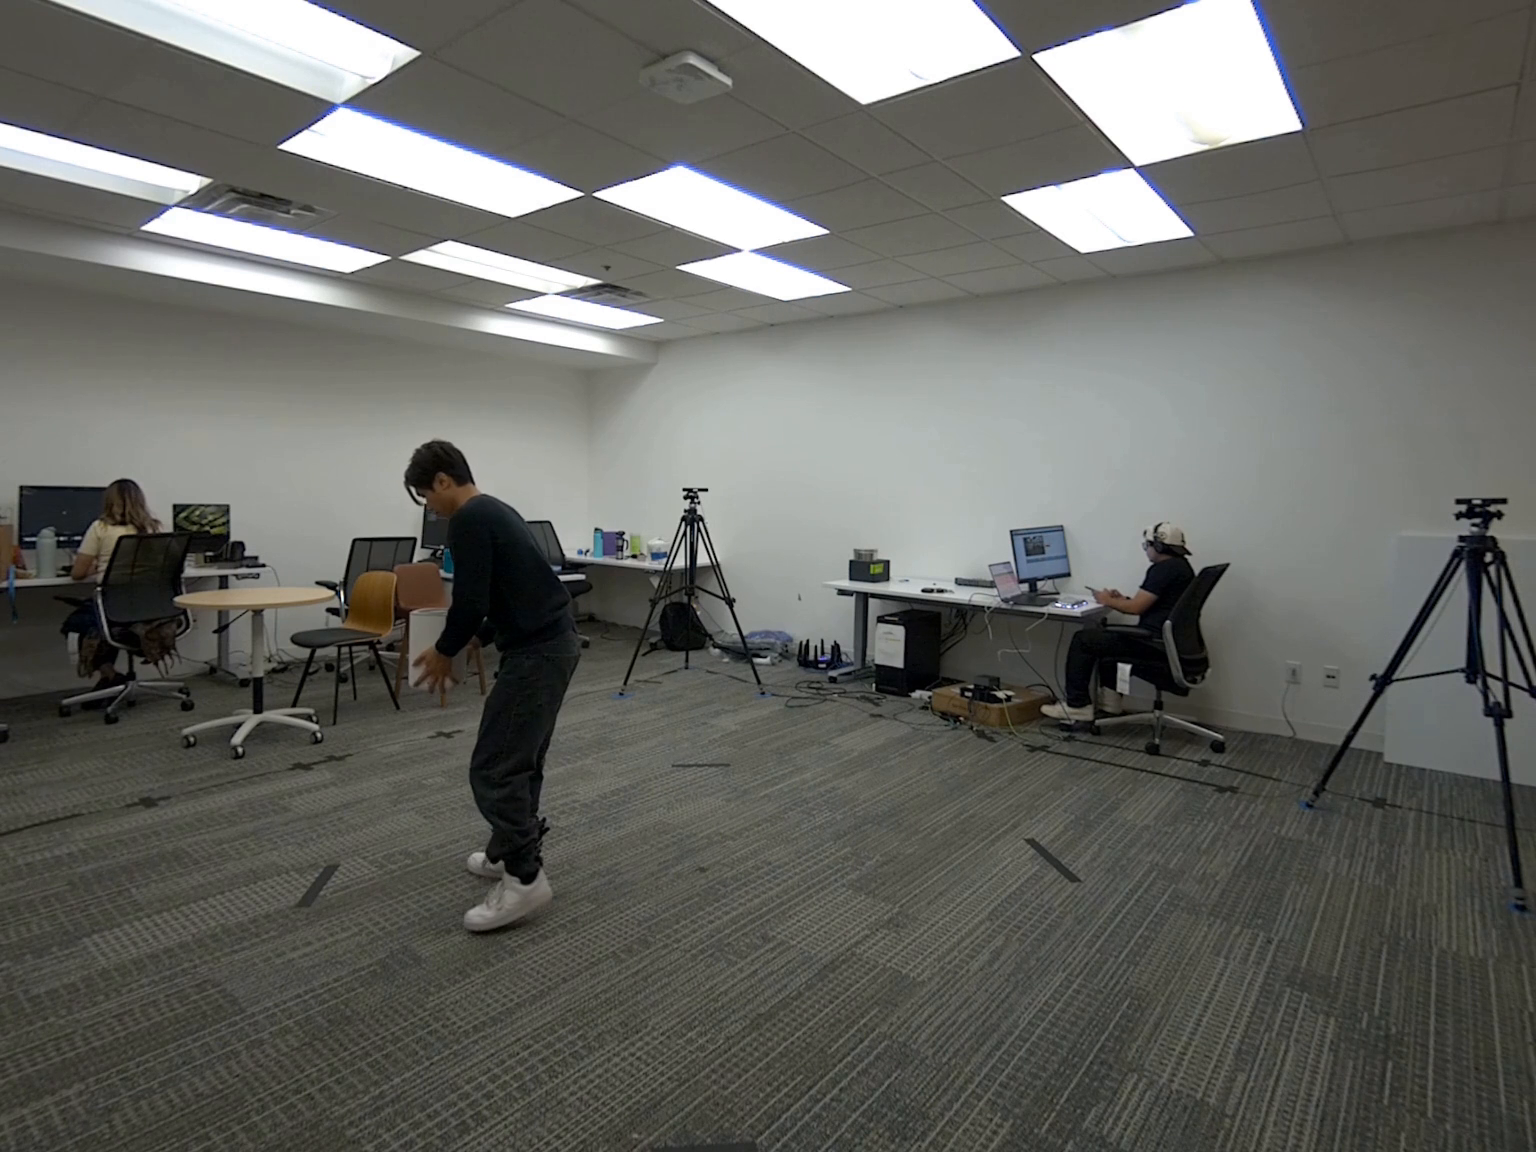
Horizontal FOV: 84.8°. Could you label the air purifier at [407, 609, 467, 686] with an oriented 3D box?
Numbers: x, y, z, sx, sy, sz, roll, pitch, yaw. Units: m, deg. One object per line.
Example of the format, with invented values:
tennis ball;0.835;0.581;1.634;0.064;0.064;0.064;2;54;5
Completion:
air purifier;-1.181;0.259;2.959;0.168;0.266;0.174;0;-1;-17
